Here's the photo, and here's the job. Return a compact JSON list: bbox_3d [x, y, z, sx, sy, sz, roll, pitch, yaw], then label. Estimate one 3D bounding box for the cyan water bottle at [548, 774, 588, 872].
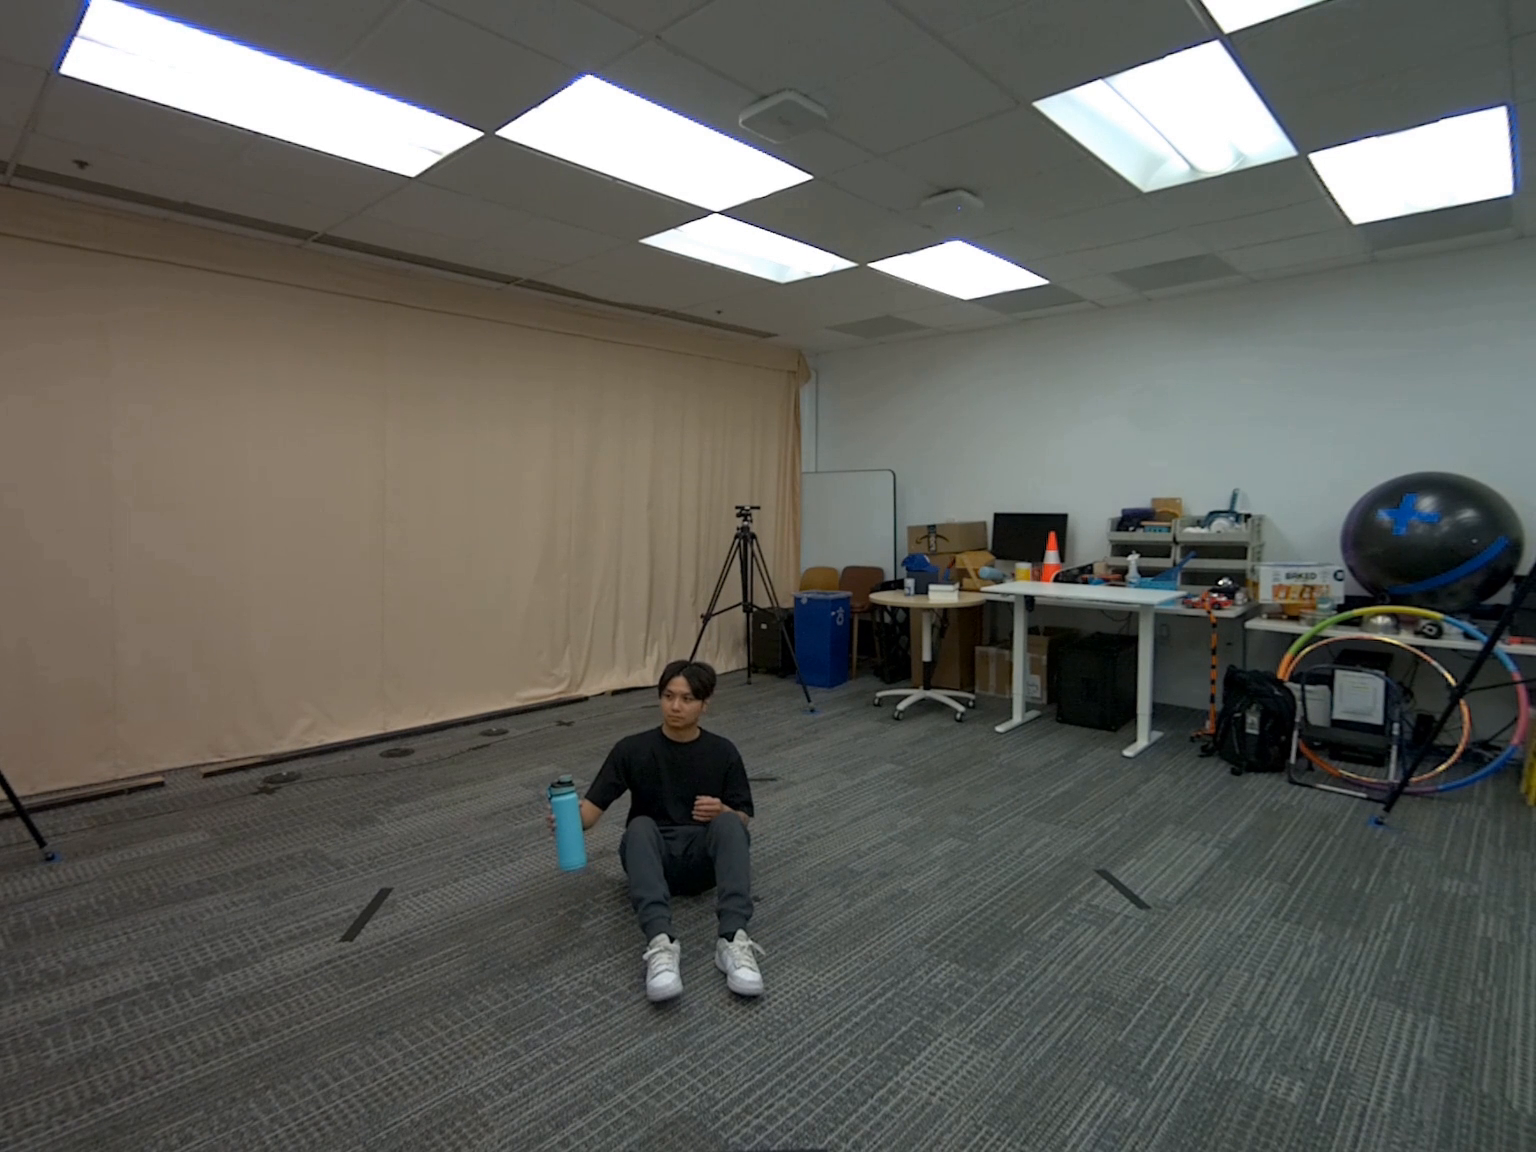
[{"bbox_3d":[-0.640,0.789,2.689,0.092,0.284,0.092,-13,-3,-2],"label":"cyan water bottle"}]
